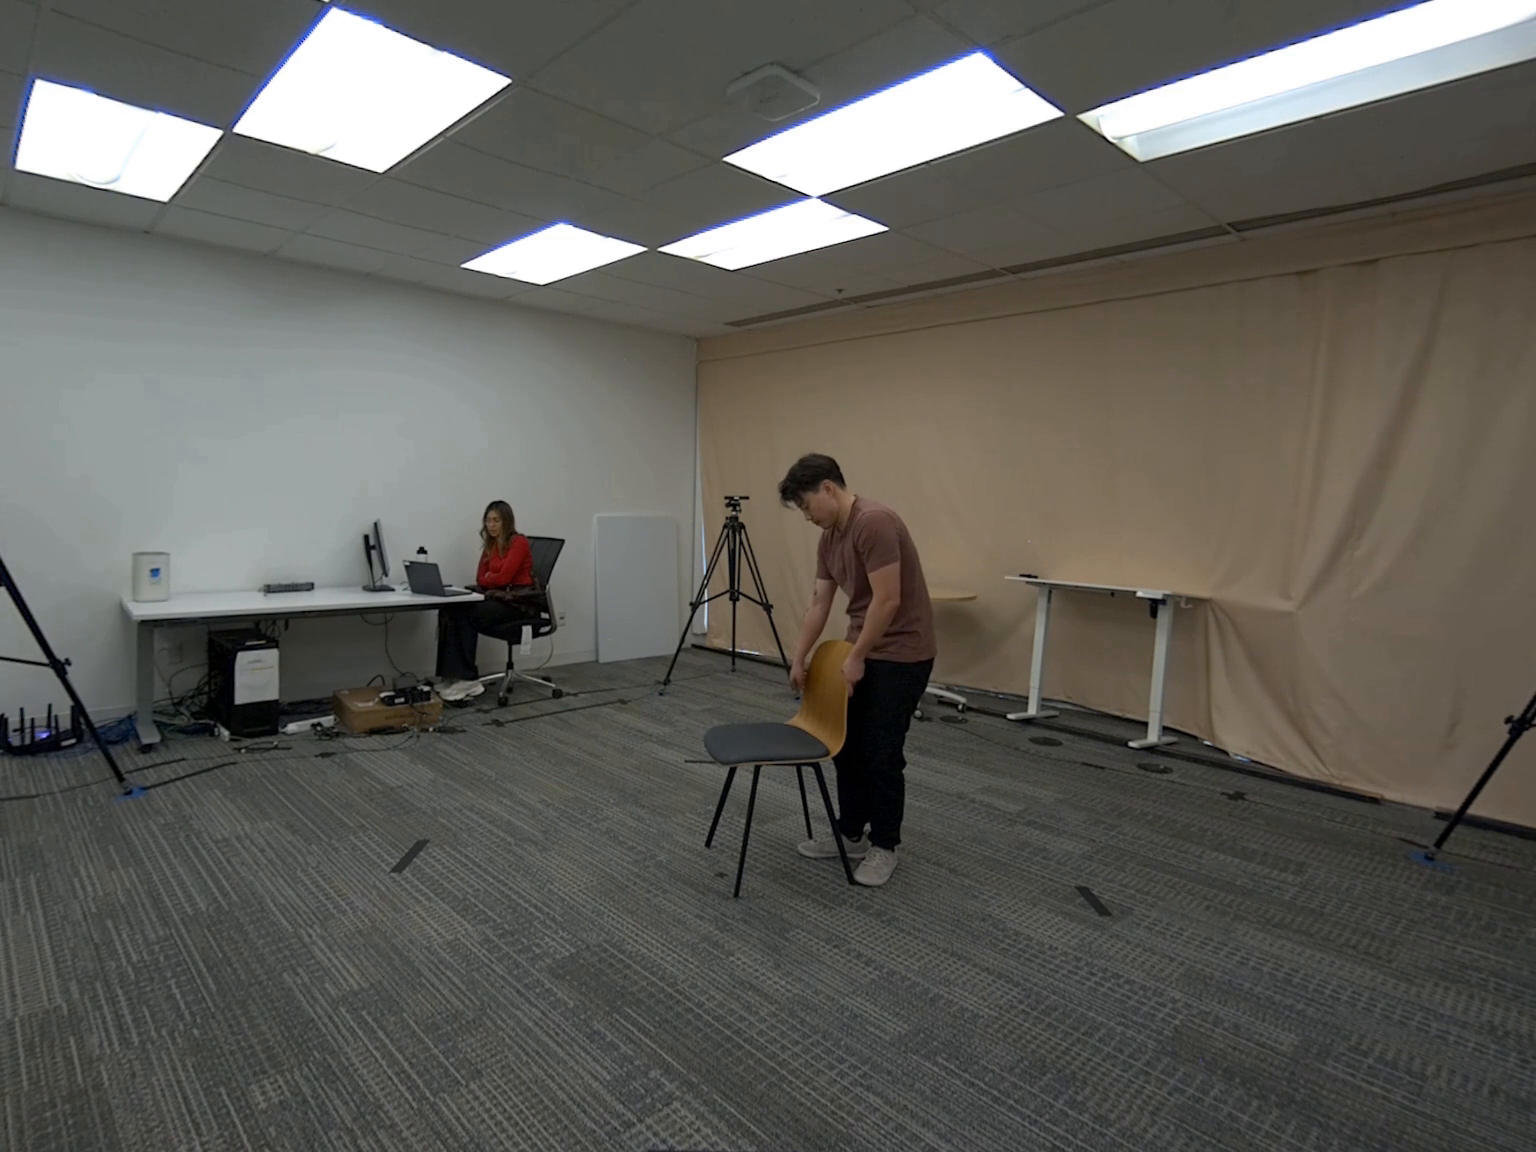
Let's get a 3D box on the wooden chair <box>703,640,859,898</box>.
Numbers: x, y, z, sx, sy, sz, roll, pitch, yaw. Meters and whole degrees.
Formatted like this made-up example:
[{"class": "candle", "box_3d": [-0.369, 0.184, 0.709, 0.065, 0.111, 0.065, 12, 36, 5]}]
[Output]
[{"class": "wooden chair", "box_3d": [0.027, 0.673, 3.159, 0.516, 0.876, 0.485, 5, 3, -16]}]
